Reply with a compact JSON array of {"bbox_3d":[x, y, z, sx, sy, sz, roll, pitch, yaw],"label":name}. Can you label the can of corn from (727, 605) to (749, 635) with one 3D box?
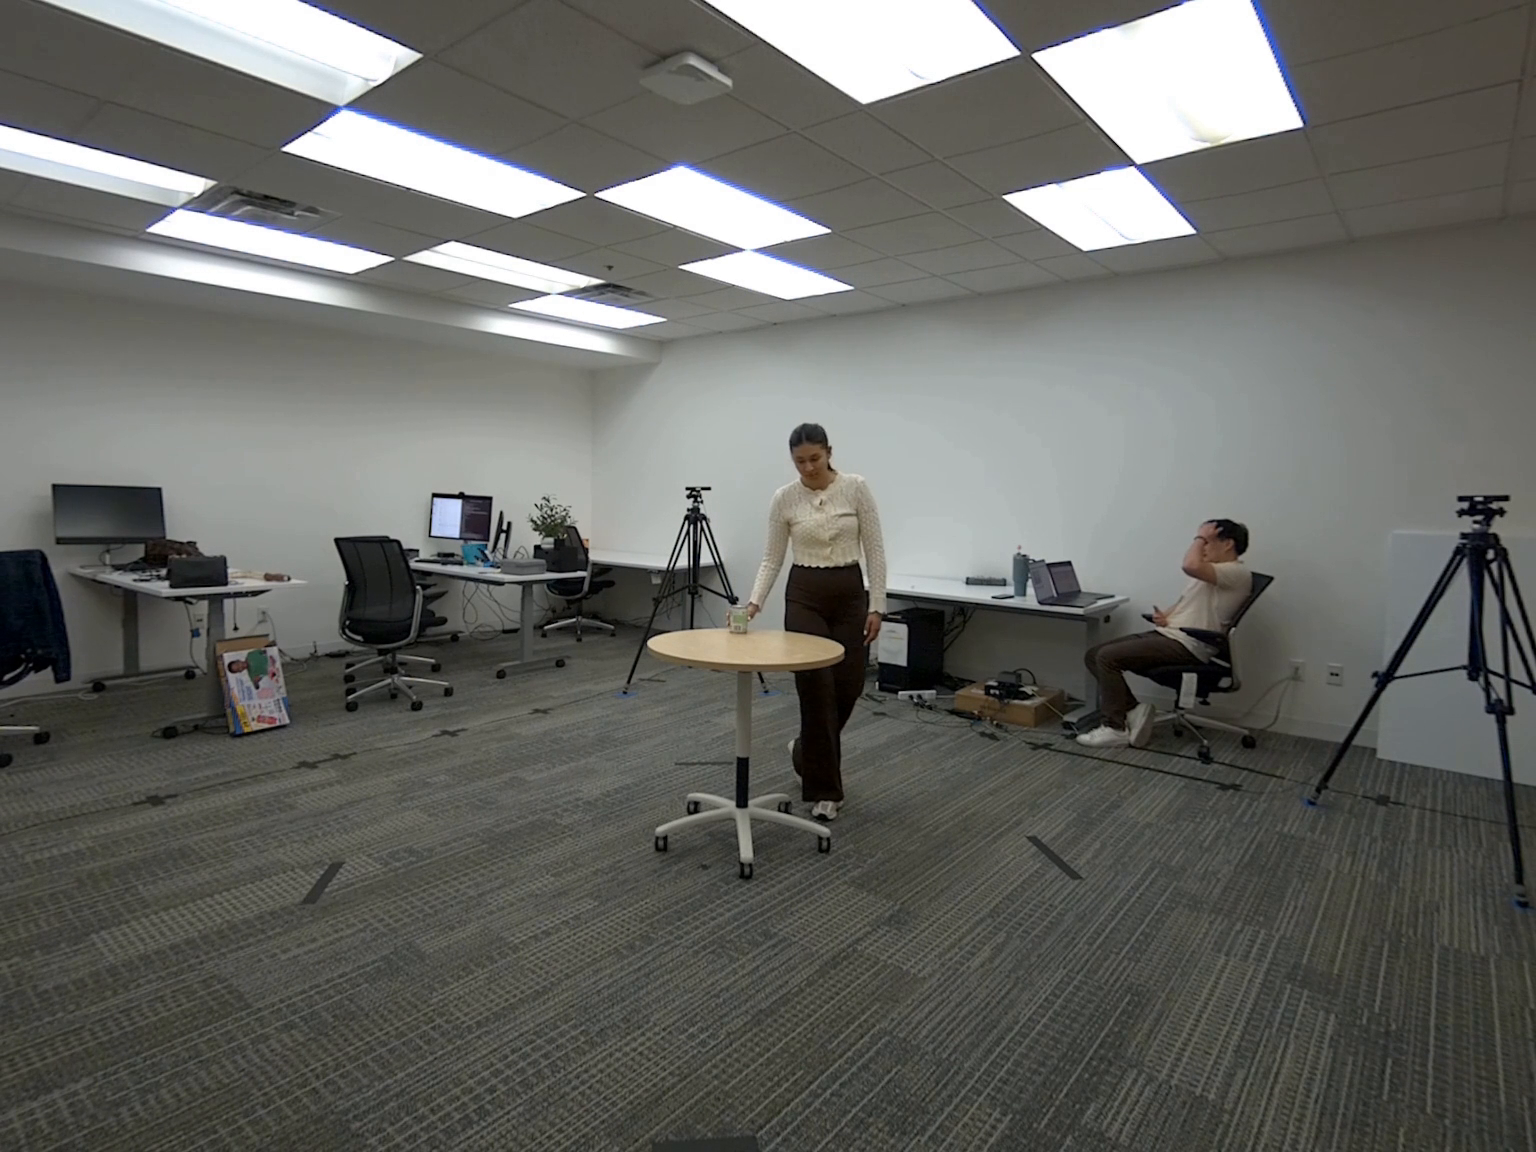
[{"bbox_3d":[-0.139,0.180,3.596,0.074,0.111,0.074,2,2,-2],"label":"can of corn"}]
